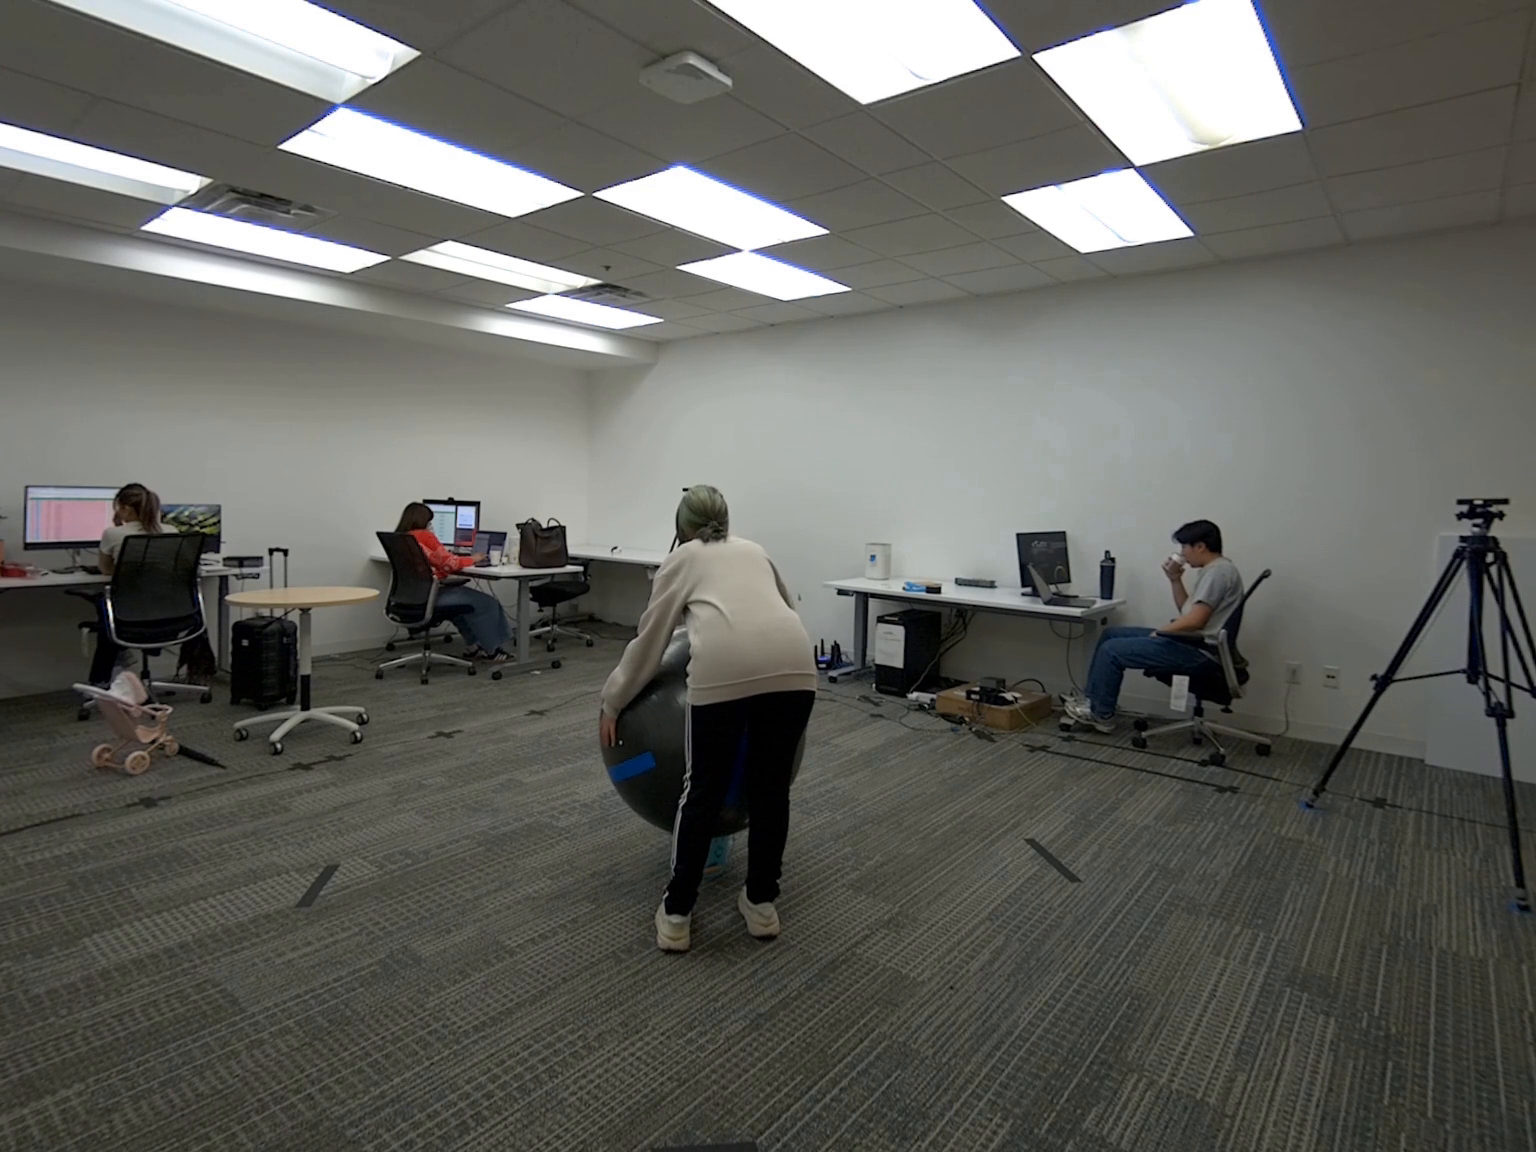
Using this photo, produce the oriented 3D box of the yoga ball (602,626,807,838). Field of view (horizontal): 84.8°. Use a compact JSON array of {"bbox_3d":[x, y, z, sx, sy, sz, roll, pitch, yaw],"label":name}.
[{"bbox_3d":[-0.243,0.545,3.105,0.757,0.756,0.762,1,4,-2],"label":"yoga ball"}]
